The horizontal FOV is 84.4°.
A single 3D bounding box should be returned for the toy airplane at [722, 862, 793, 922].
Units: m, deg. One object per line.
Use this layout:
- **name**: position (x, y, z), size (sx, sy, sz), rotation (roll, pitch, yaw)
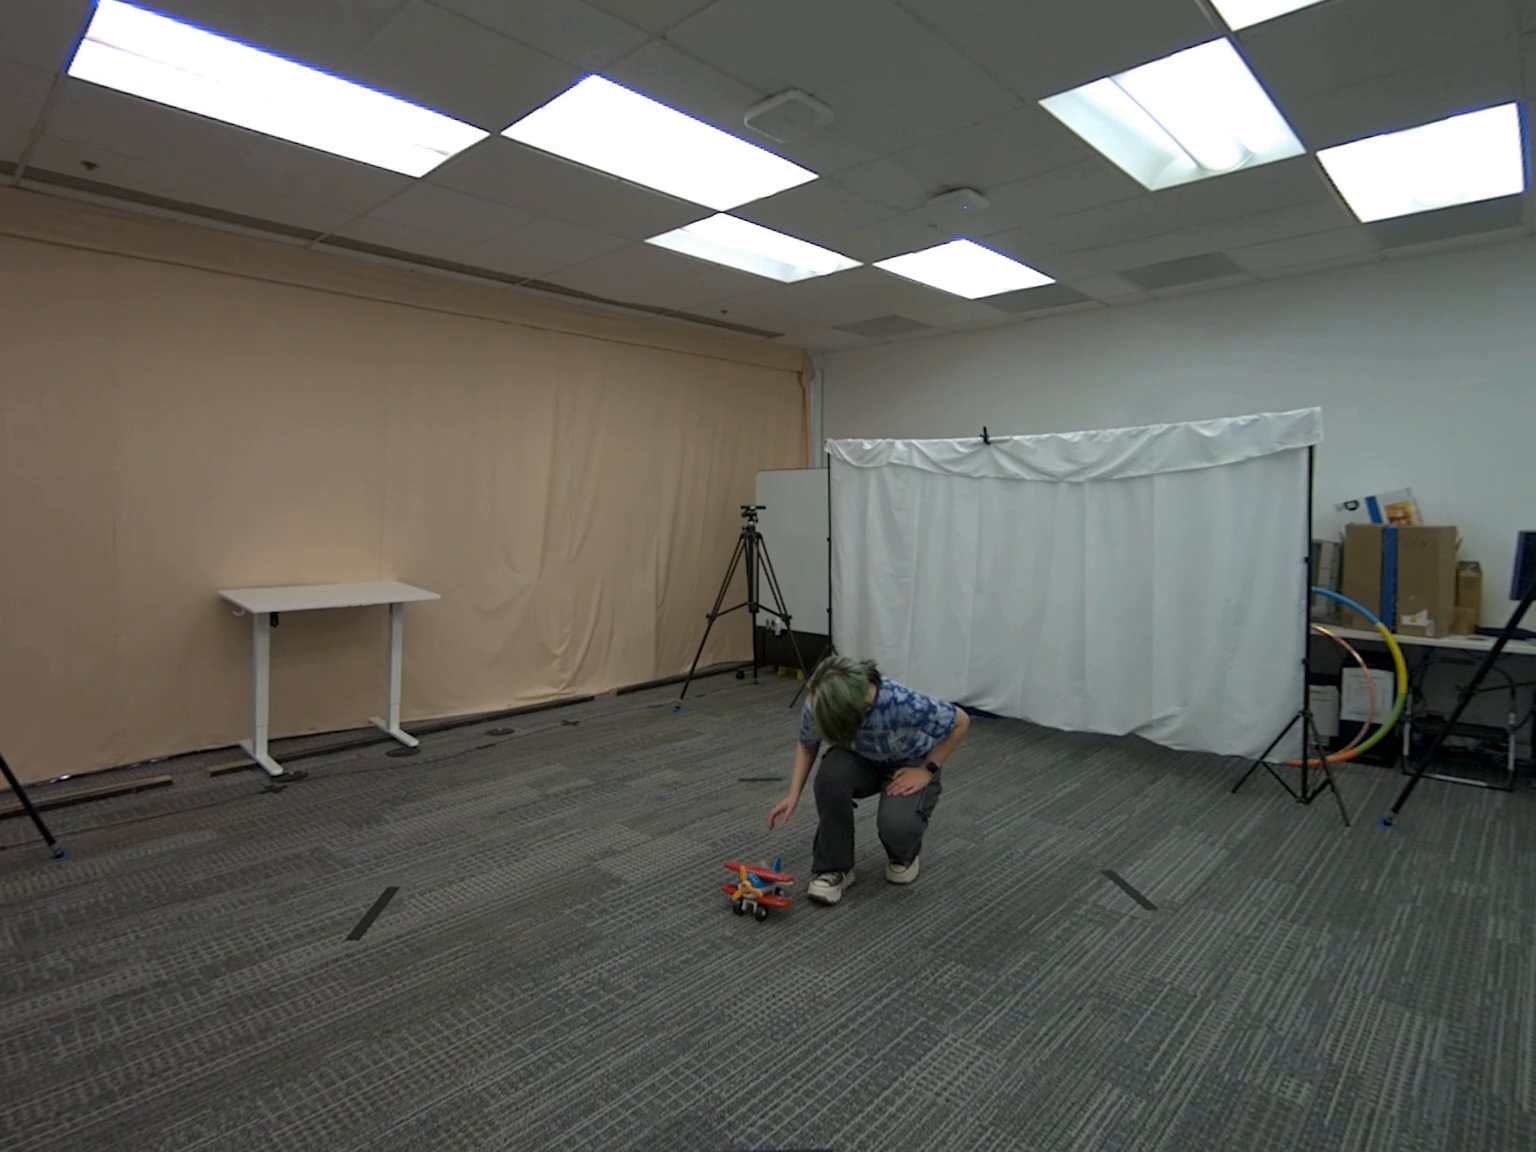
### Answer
- **toy airplane**: position (-0.032, 1.076, 2.929), size (0.252, 0.156, 0.259), rotation (0, 5, 2)
